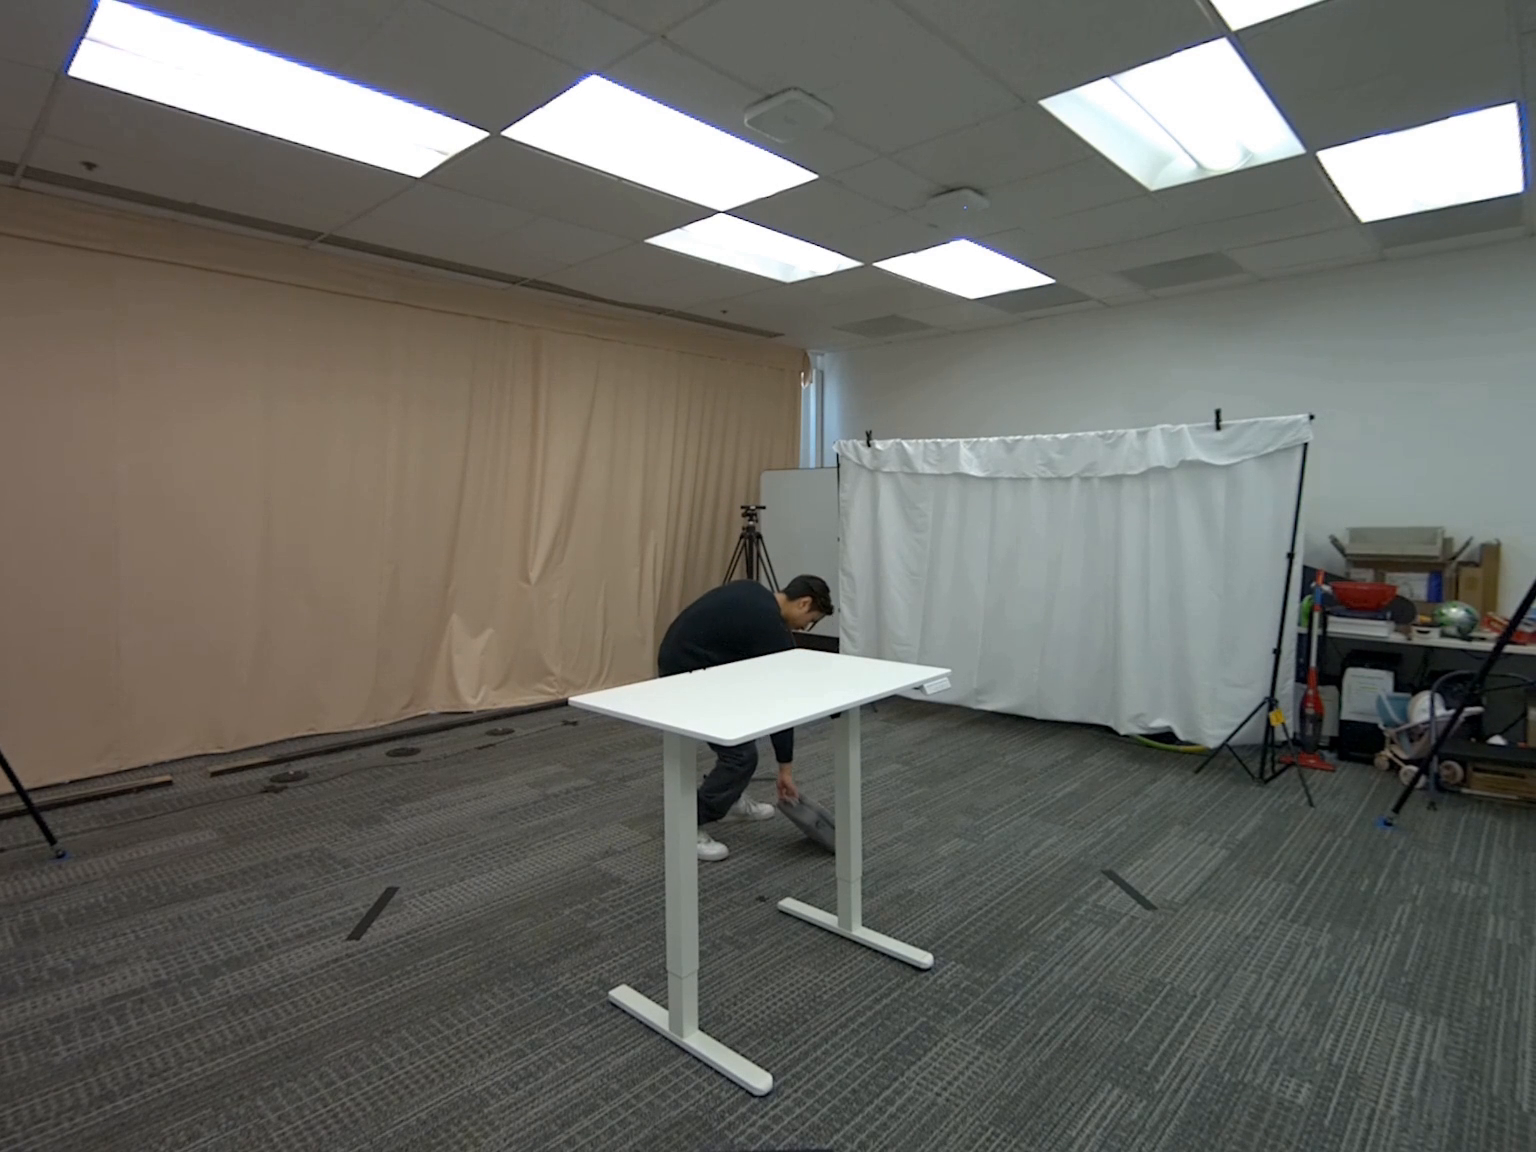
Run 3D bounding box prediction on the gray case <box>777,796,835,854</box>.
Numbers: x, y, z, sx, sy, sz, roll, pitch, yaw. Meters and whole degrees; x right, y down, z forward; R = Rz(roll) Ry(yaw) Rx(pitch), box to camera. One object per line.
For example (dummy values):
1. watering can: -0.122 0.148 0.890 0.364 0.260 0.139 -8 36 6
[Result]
1. gray case: 0.194 0.990 3.404 0.104 0.255 0.264 -49 21 -17
